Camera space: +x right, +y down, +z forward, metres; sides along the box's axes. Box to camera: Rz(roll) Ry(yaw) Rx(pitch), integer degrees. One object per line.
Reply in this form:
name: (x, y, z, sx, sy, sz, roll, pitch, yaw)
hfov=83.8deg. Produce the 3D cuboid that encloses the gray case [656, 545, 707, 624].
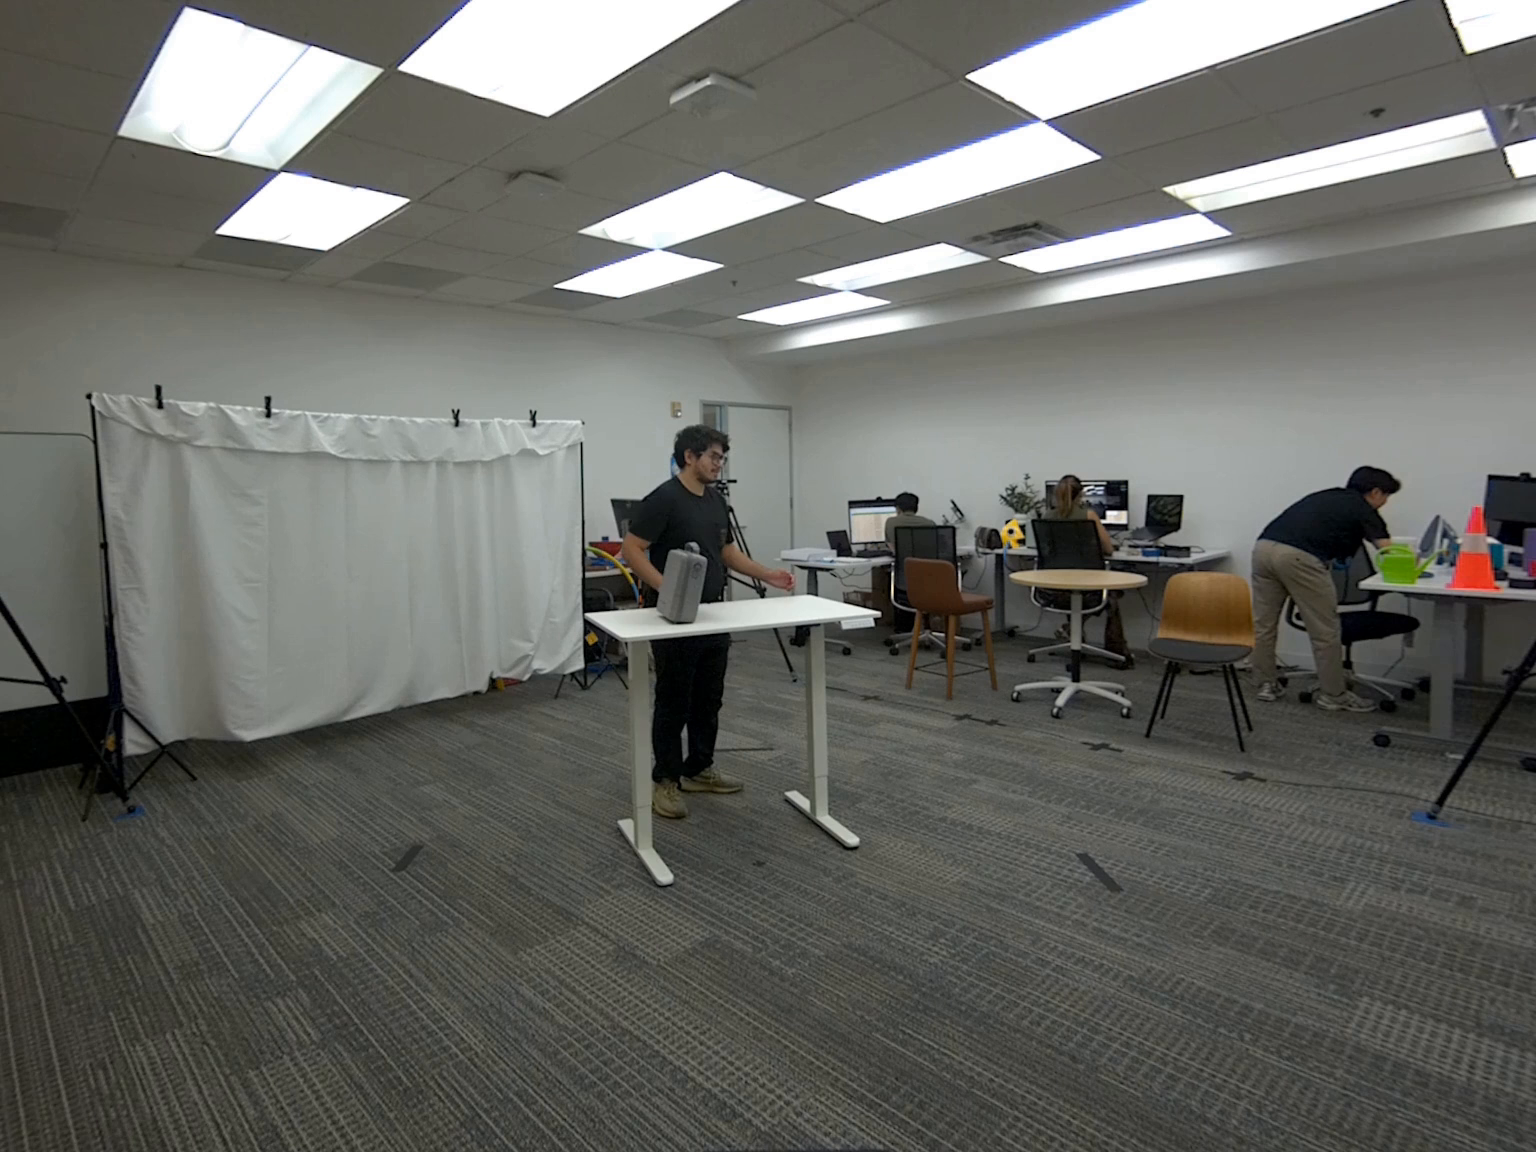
gray case: (-0.329, 0.032, 3.183, 0.103, 0.260, 0.261, 5, 2, -15)
